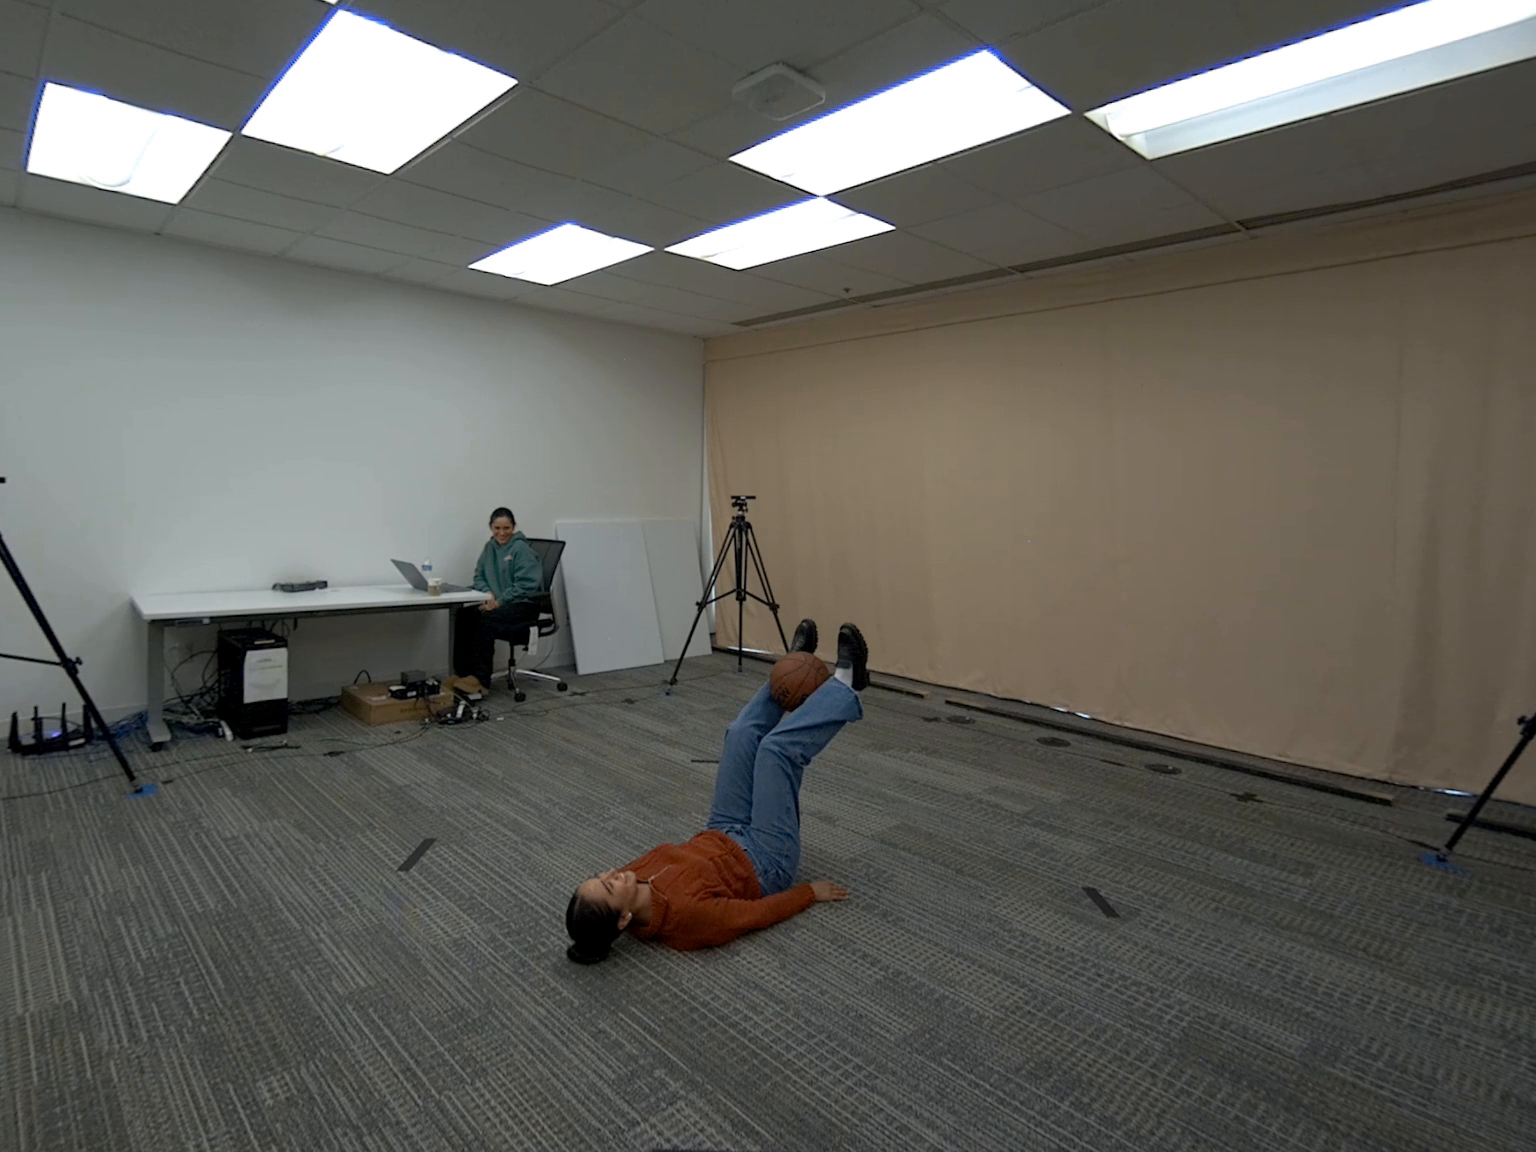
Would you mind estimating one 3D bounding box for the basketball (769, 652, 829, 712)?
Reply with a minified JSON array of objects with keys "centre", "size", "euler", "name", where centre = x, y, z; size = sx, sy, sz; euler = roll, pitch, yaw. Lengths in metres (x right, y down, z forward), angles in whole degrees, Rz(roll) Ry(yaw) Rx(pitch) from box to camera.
[{"centre":[0.119,0.409,3.216],"size":[0.236,0.235,0.237],"euler":[1,4,-1],"name":"basketball"}]
